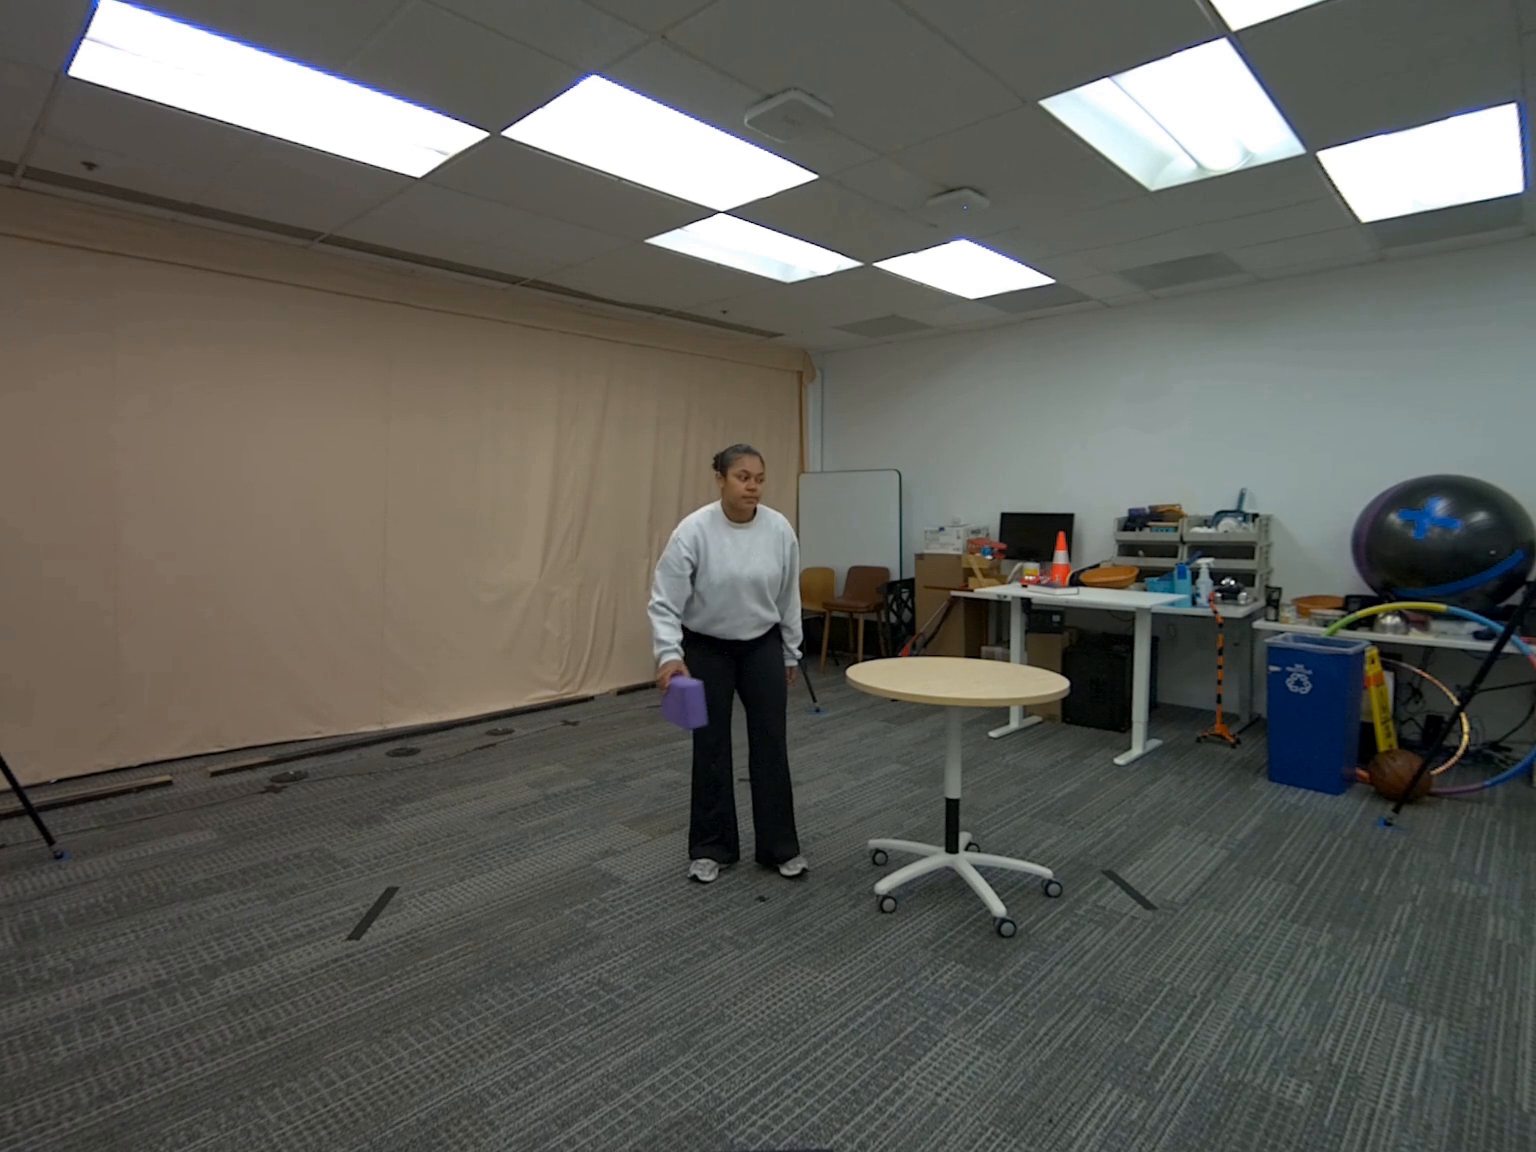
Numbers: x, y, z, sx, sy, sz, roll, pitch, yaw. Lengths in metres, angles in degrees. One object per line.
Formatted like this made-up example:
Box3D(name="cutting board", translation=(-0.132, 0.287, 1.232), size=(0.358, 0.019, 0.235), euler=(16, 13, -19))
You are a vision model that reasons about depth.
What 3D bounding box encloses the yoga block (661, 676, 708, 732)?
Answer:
Box3D(name="yoga block", translation=(-0.259, 0.404, 2.807), size=(0.075, 0.148, 0.235), euler=(-9, 4, -24))
